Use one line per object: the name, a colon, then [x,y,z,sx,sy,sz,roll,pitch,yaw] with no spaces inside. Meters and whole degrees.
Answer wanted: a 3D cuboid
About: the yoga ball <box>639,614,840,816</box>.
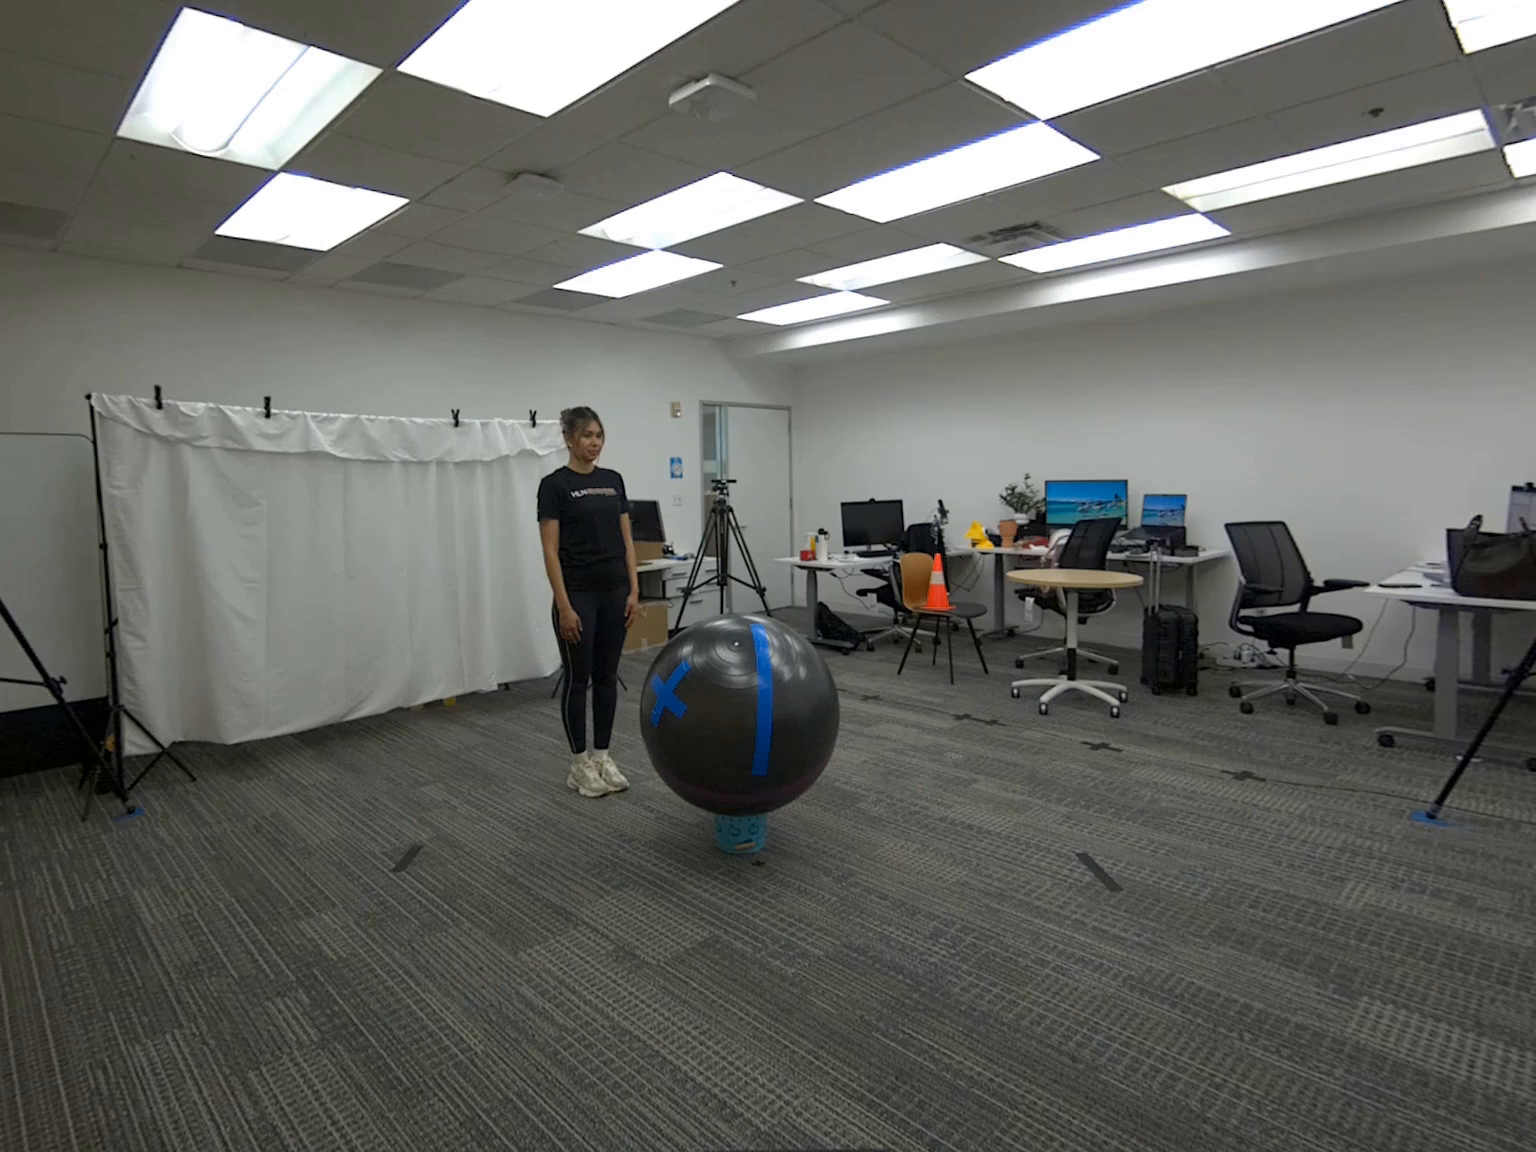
yoga ball: [-0.108,0.514,3.247,0.757,0.755,0.762,-1,5,-2]
